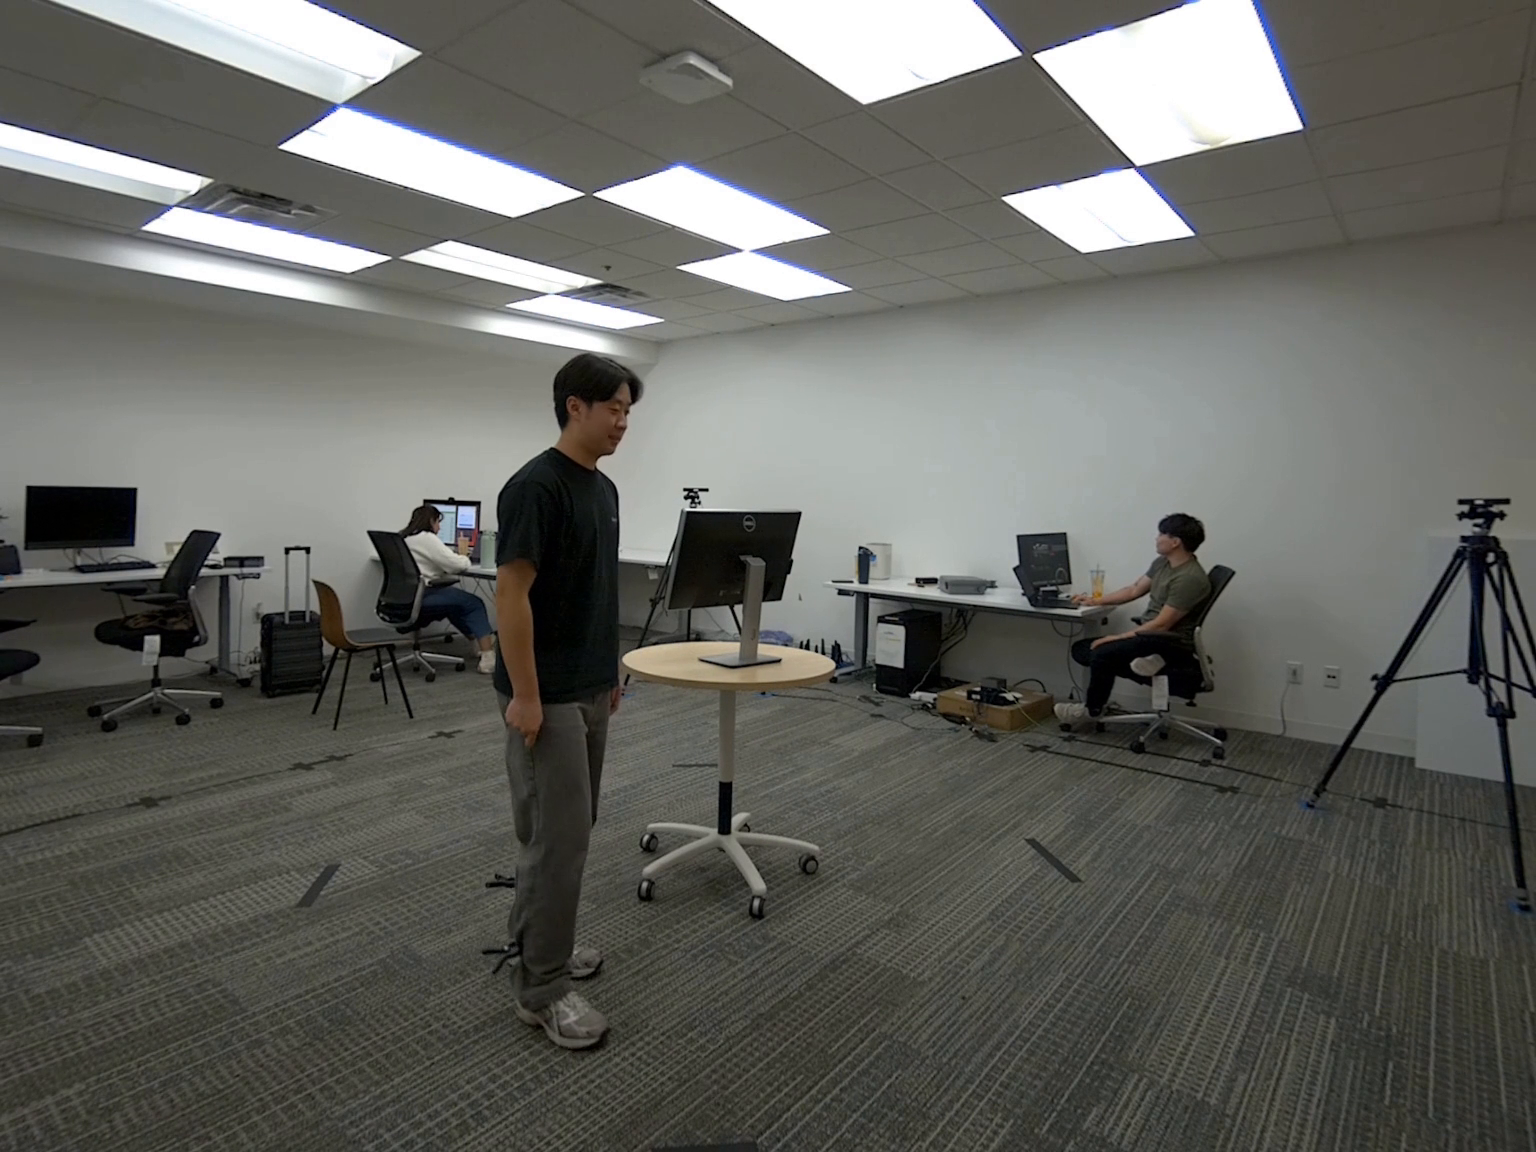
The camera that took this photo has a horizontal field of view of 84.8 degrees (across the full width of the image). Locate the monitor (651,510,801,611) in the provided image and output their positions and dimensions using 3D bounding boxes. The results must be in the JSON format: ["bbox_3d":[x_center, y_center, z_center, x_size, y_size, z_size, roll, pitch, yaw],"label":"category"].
[{"bbox_3d":[-0.107,0.040,3.044,0.545,0.565,0.229,-1,3,-39],"label":"monitor"}]
